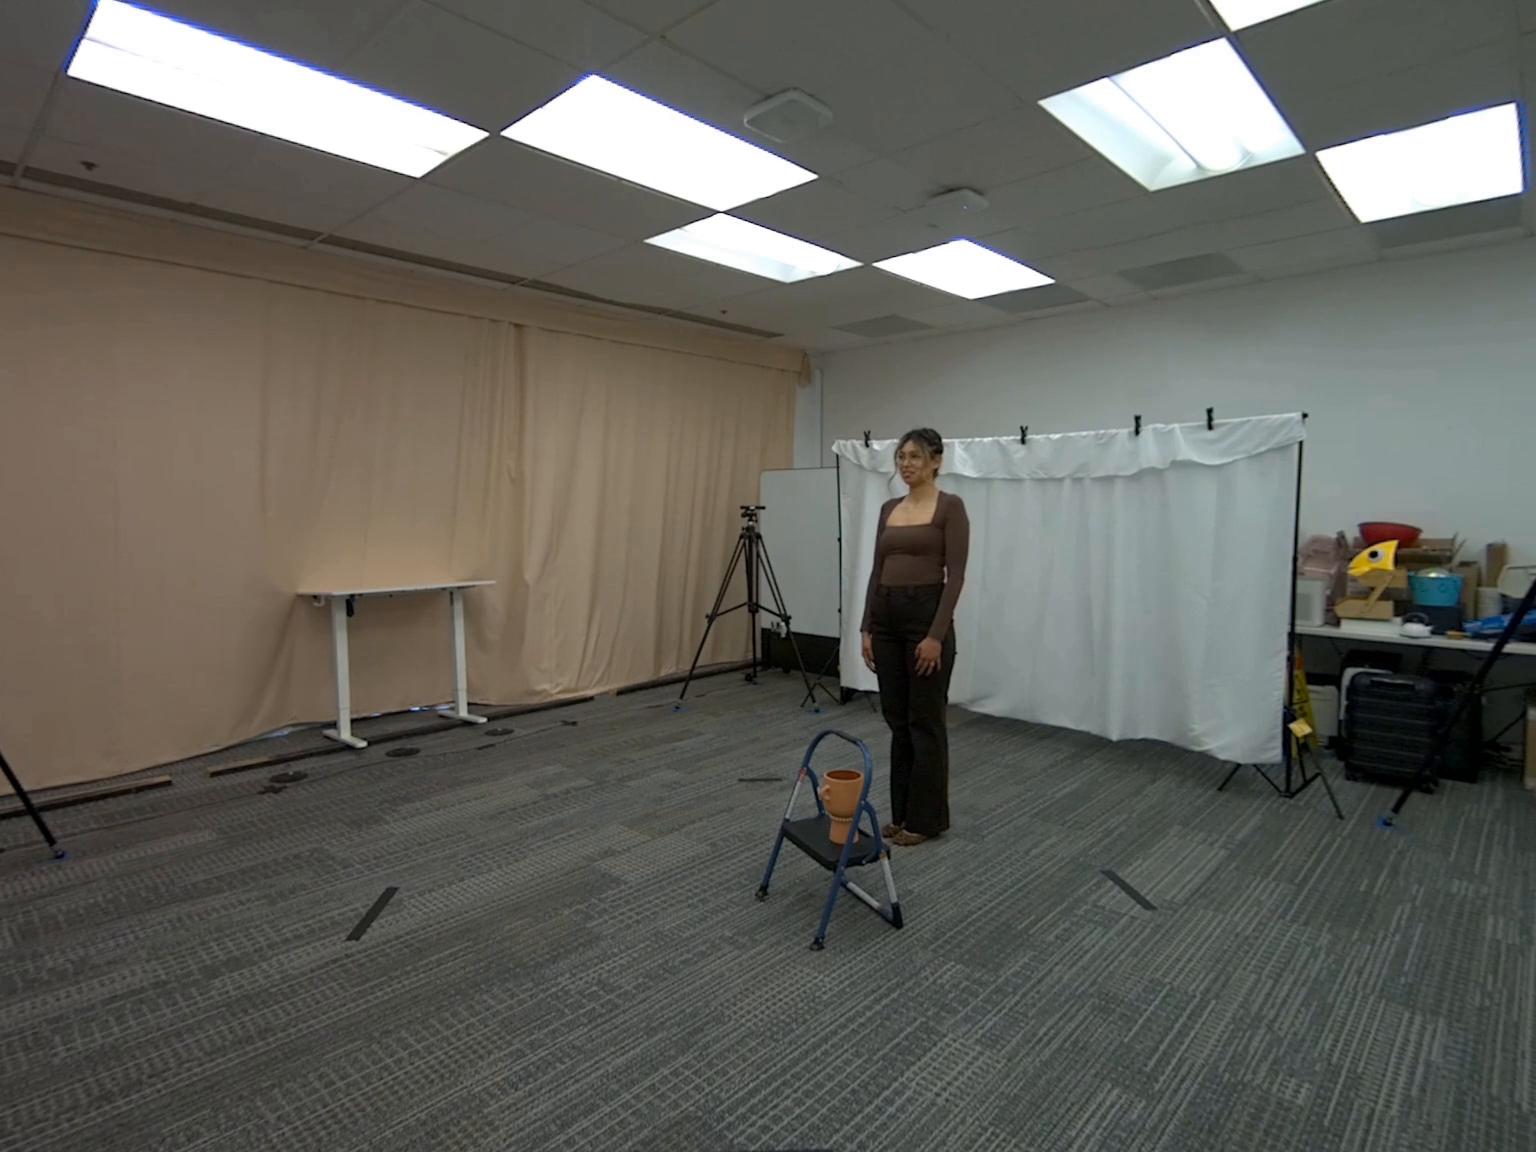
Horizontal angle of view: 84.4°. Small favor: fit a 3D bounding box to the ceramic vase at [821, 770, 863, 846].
[{"bbox_3d":[0.261,0.780,2.843,0.160,0.219,0.134,-1,4,6],"label":"ceramic vase"}]
